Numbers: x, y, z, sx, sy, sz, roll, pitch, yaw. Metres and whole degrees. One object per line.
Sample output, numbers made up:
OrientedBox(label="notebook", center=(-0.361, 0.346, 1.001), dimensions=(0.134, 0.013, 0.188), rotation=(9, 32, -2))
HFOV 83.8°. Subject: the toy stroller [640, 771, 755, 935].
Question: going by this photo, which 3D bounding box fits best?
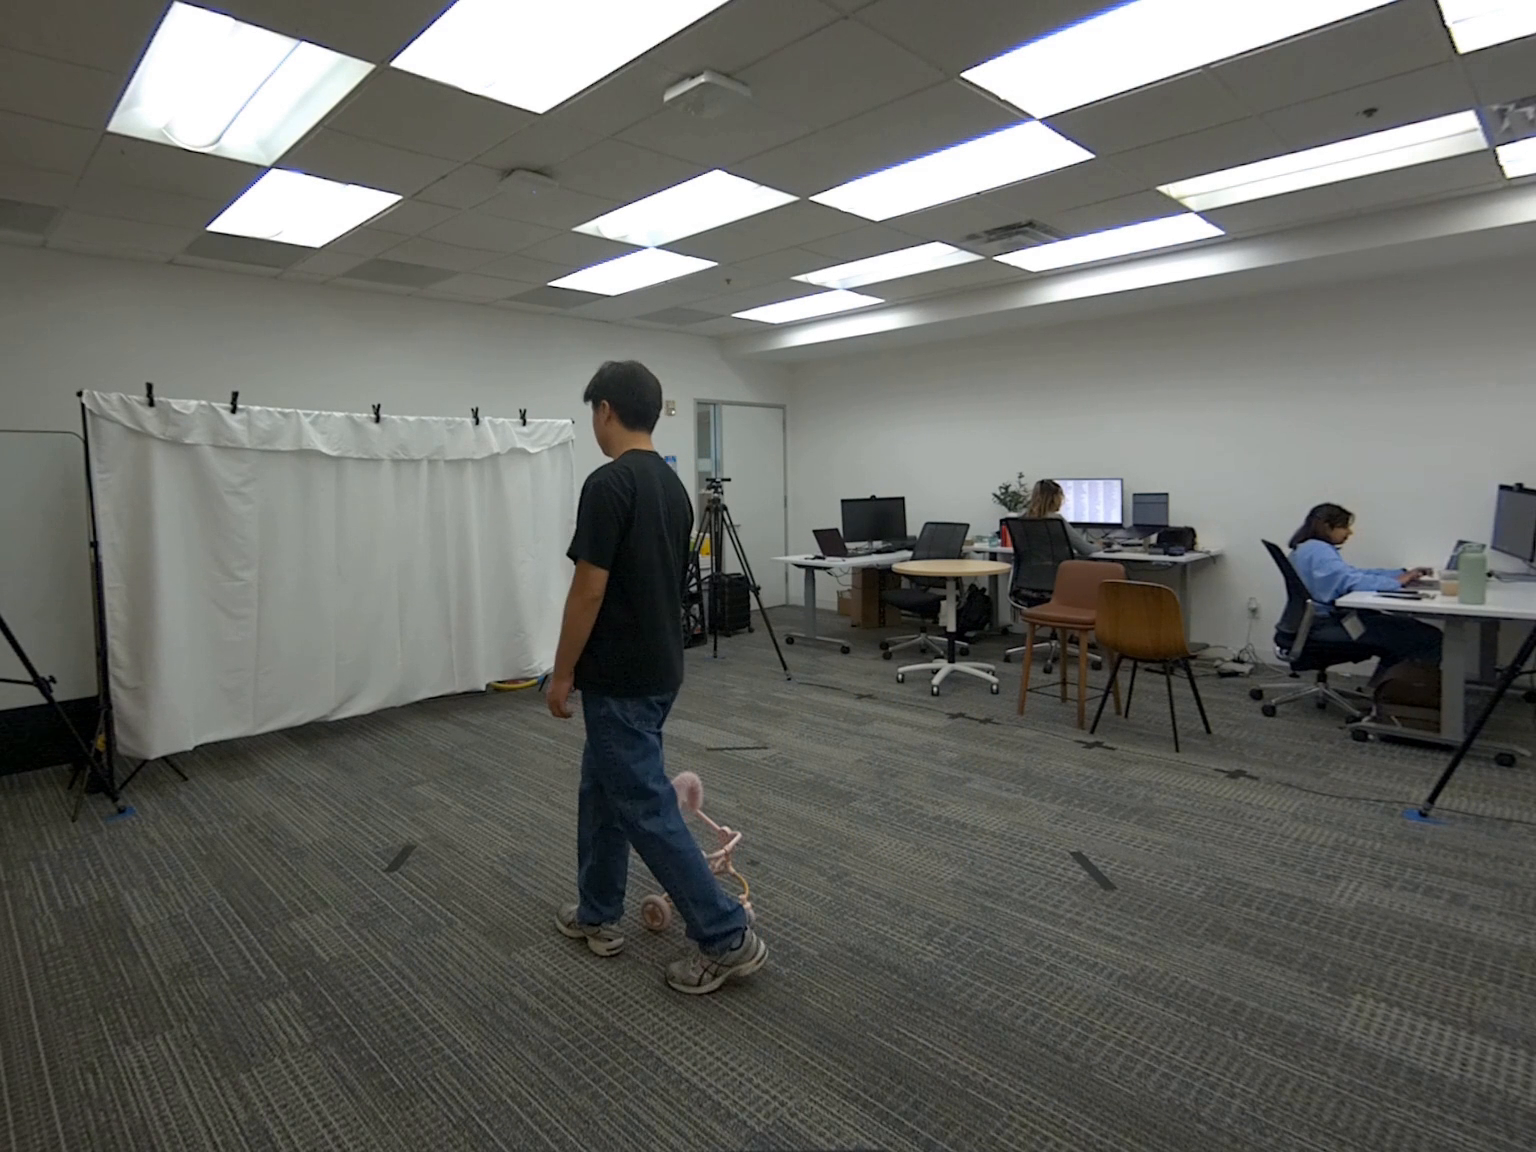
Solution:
OrientedBox(label="toy stroller", center=(-0.243, 0.869, 2.724), dimensions=(0.347, 0.537, 0.276), rotation=(-17, -3, 29))
